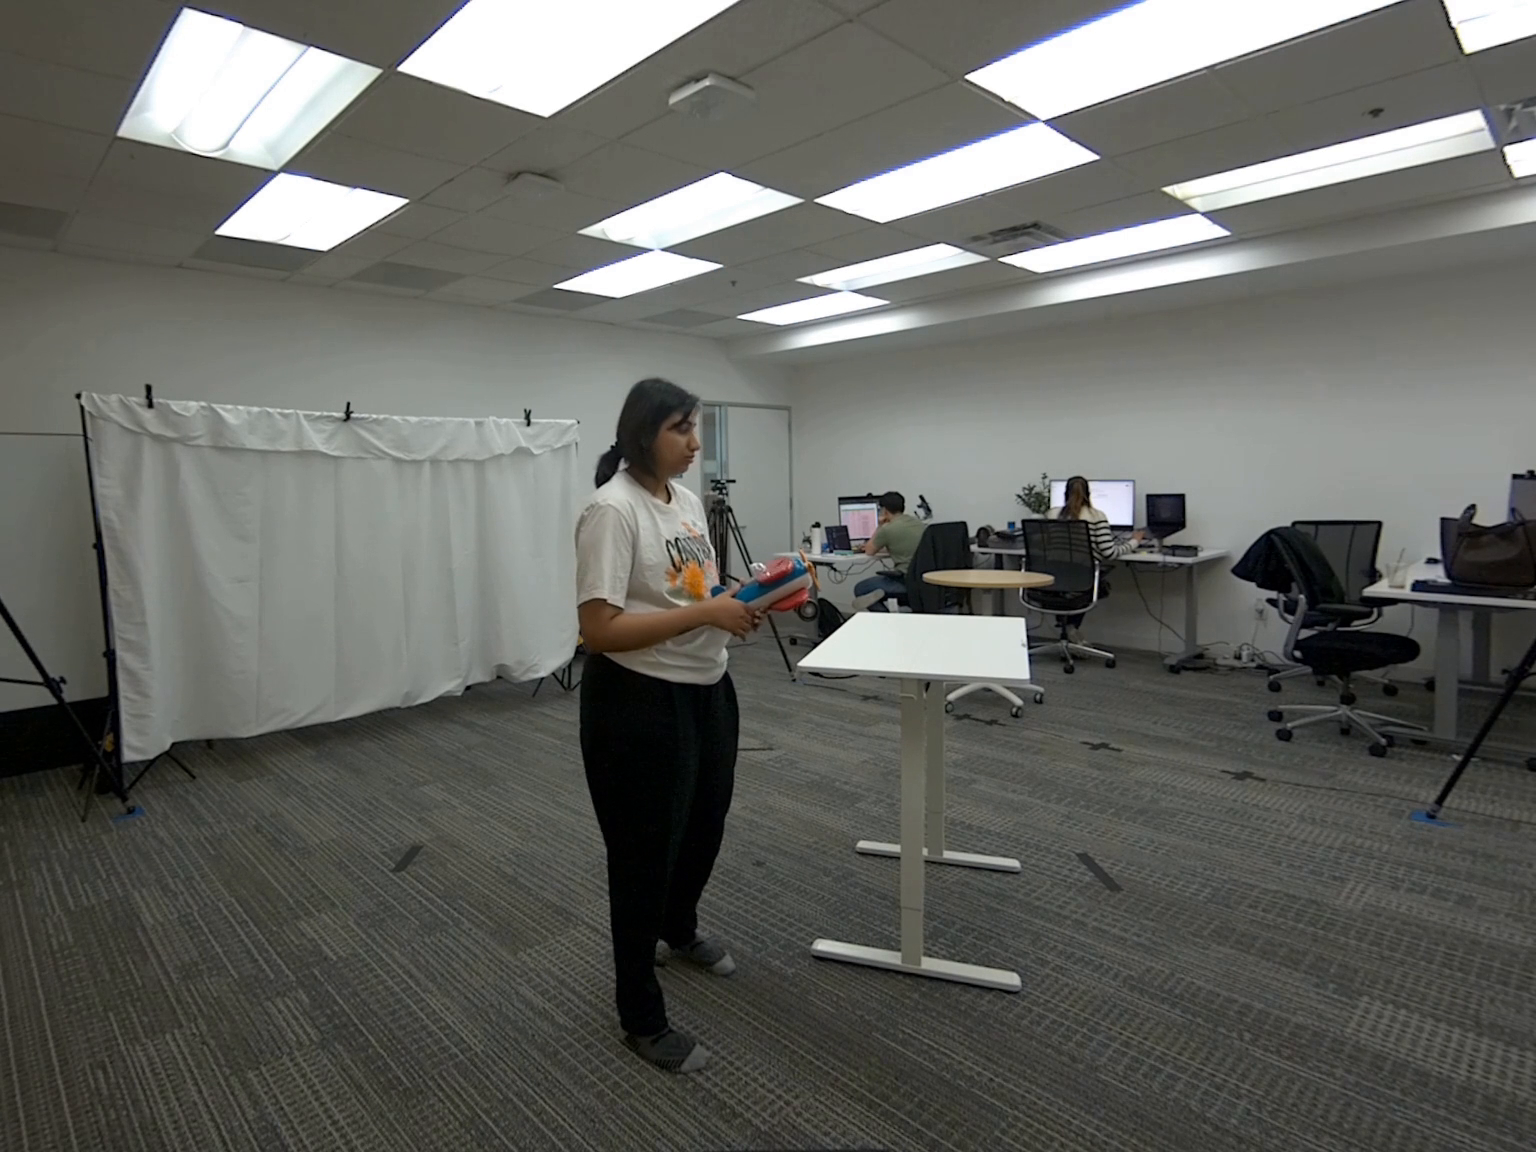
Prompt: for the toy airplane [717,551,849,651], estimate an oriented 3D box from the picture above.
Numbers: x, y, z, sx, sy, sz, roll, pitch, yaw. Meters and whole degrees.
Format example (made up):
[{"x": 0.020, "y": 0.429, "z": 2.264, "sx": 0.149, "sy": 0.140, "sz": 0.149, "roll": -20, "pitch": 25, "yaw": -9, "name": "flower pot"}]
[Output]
[{"x": 0.002, "y": 0.050, "z": 2.071, "sx": 0.255, "sy": 0.155, "sz": 0.257, "roll": -17, "pitch": 9, "yaw": -26, "name": "toy airplane"}]
